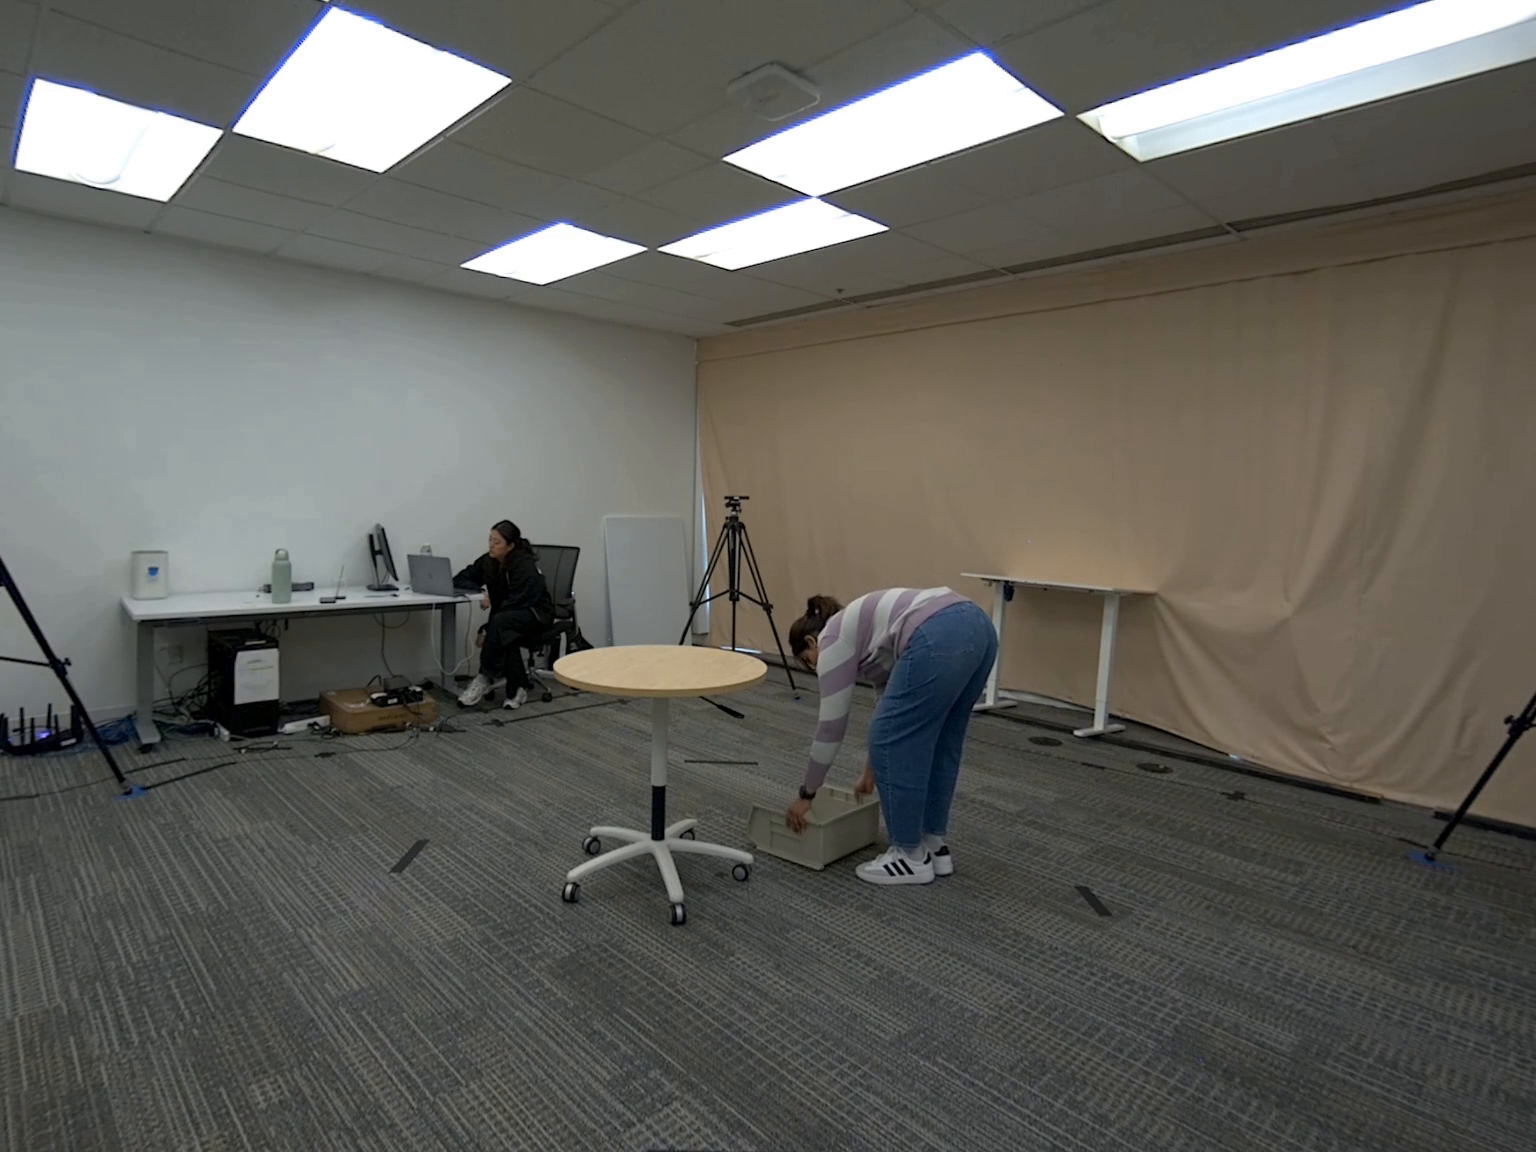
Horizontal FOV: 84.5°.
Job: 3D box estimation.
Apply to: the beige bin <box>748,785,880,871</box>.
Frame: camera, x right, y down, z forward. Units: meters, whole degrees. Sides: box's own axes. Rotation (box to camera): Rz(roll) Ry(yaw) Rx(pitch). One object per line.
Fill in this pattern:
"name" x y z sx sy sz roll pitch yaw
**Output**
"beige bin" 0.188 0.985 3.392 0.386 0.189 0.413 3 4 42
